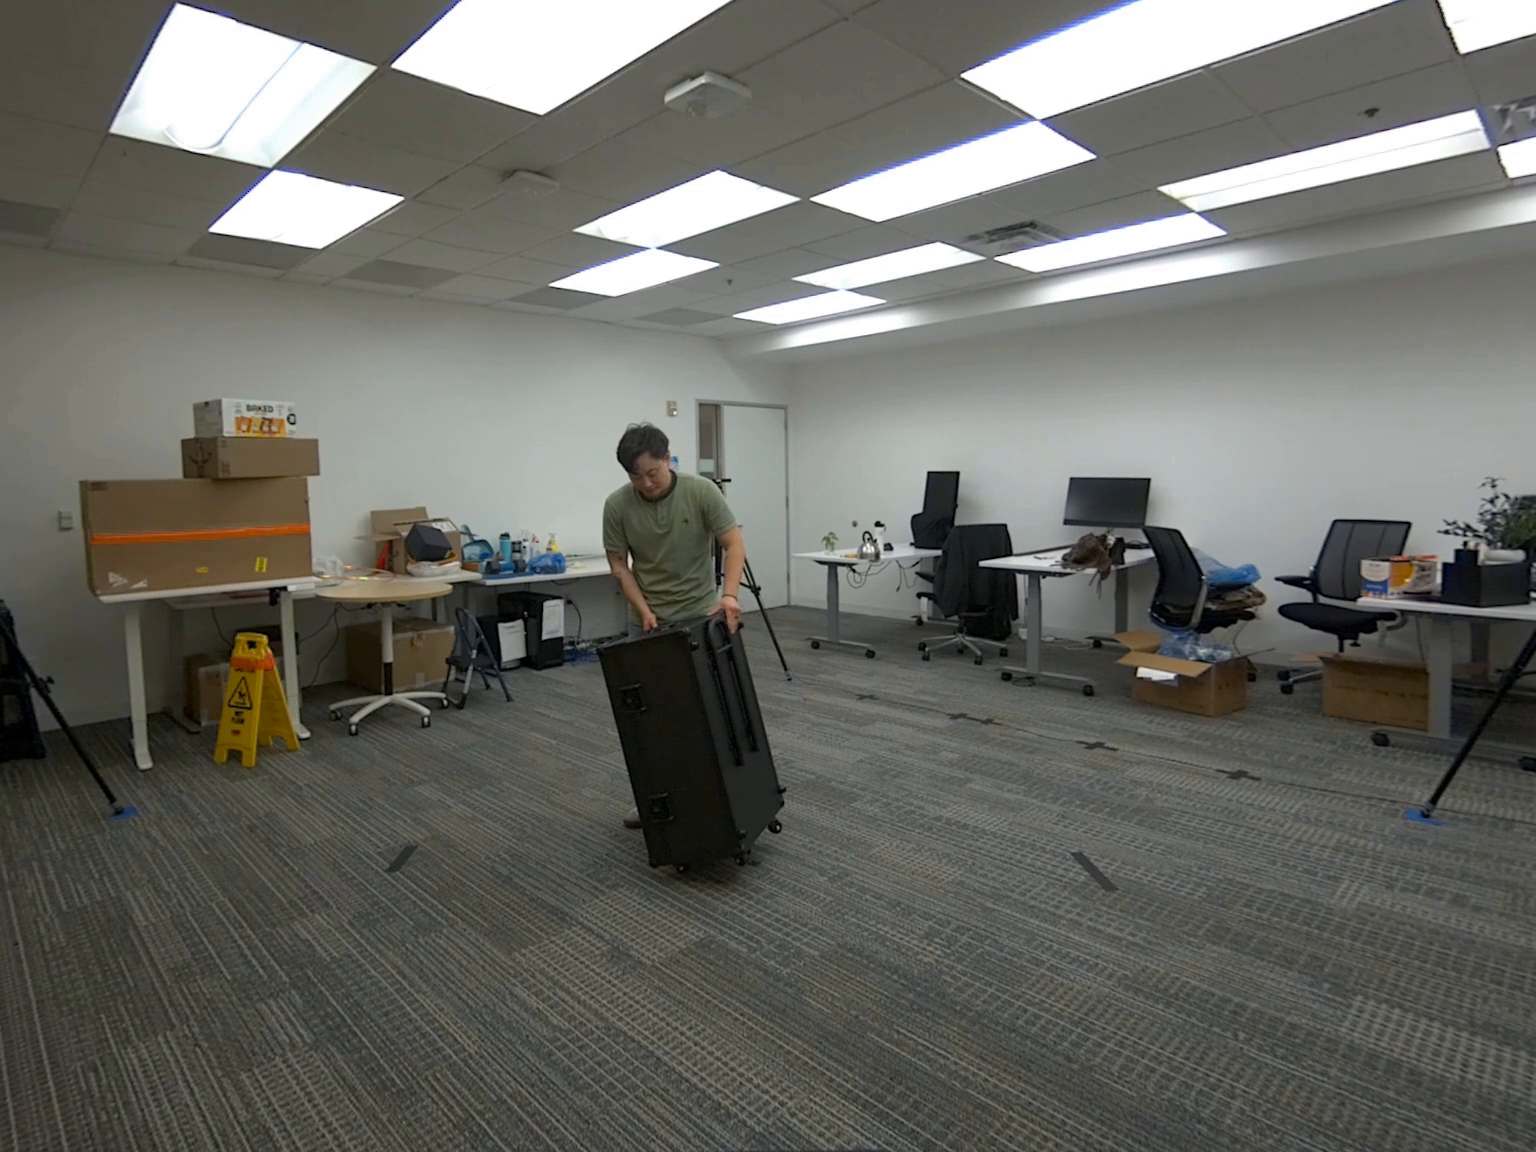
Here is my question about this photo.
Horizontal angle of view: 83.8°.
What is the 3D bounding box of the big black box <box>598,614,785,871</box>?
[{"bbox_3d":[-0.236,0.603,3.133,0.402,0.862,0.514,-14,0,19],"label":"big black box"}]
